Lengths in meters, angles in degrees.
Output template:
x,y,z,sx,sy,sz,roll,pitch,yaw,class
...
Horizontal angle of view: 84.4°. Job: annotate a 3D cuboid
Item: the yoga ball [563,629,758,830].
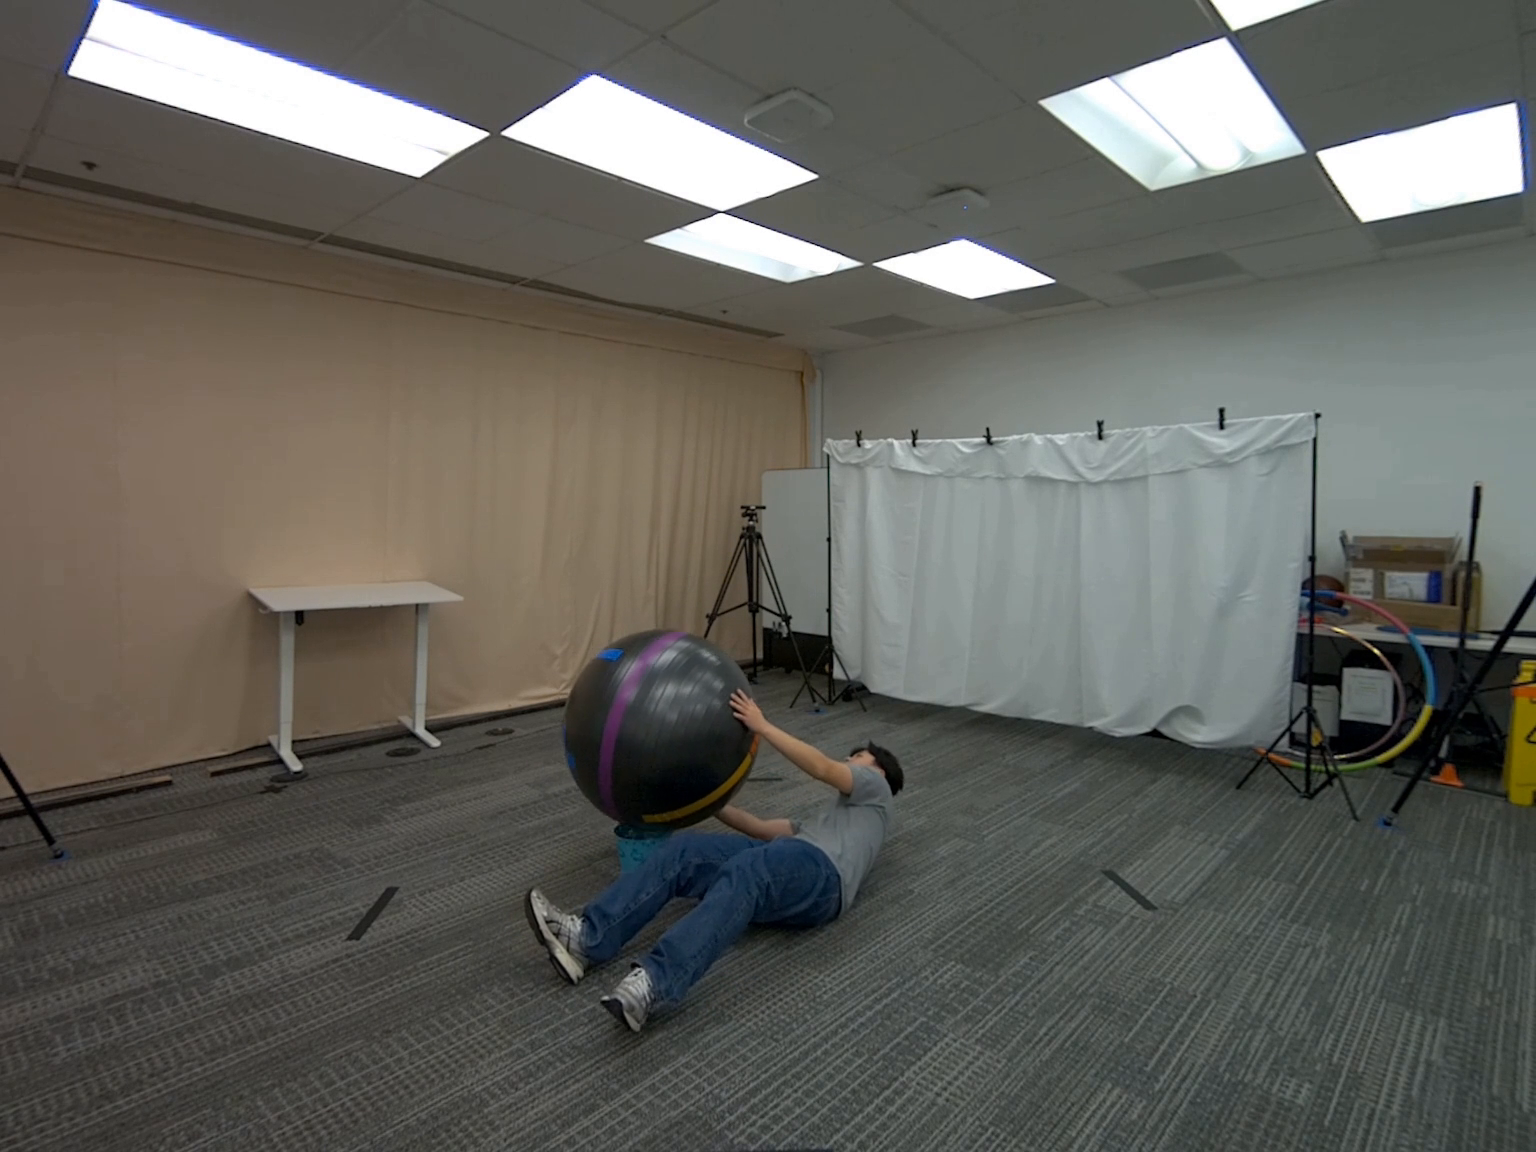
x,y,z,sx,sy,sz,roll,pitch,yaw,class
-0.403,0.579,3.256,0.757,0.756,0.760,0,4,-2,yoga ball
